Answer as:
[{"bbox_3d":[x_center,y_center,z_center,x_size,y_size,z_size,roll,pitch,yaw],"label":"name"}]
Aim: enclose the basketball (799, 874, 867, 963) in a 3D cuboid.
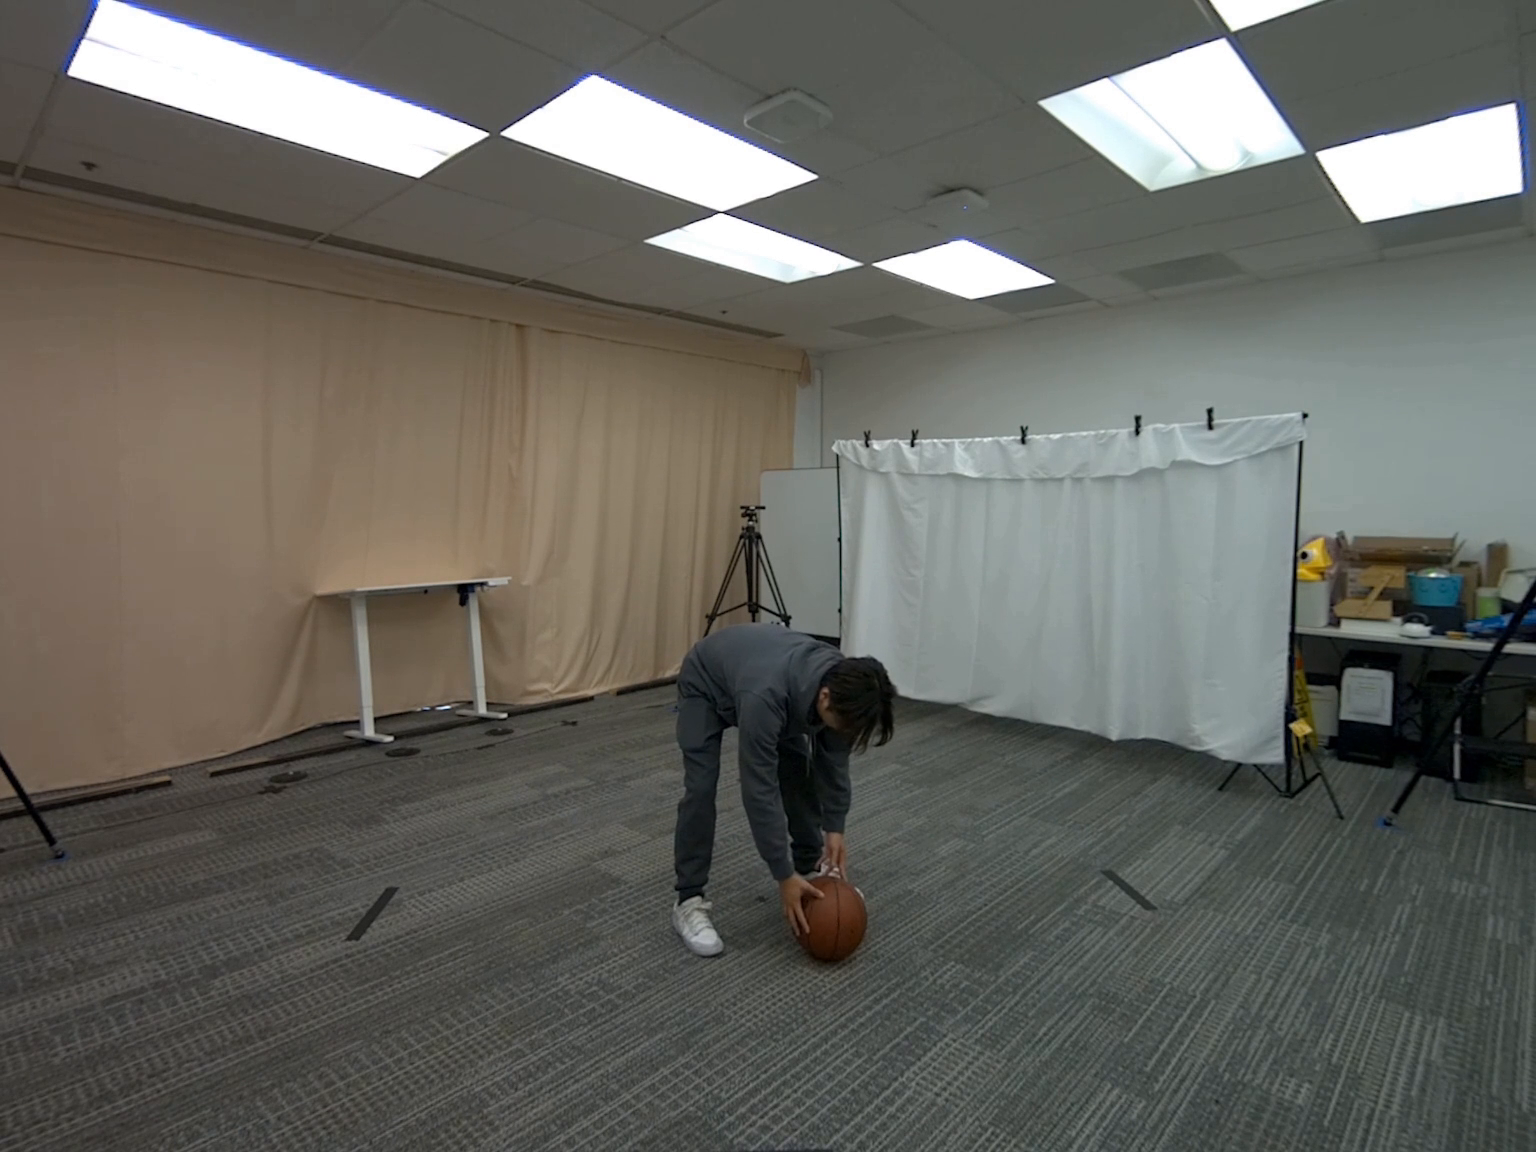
[{"bbox_3d":[0.186,1.052,2.606,0.236,0.235,0.237,0,4,-2],"label":"basketball"}]
